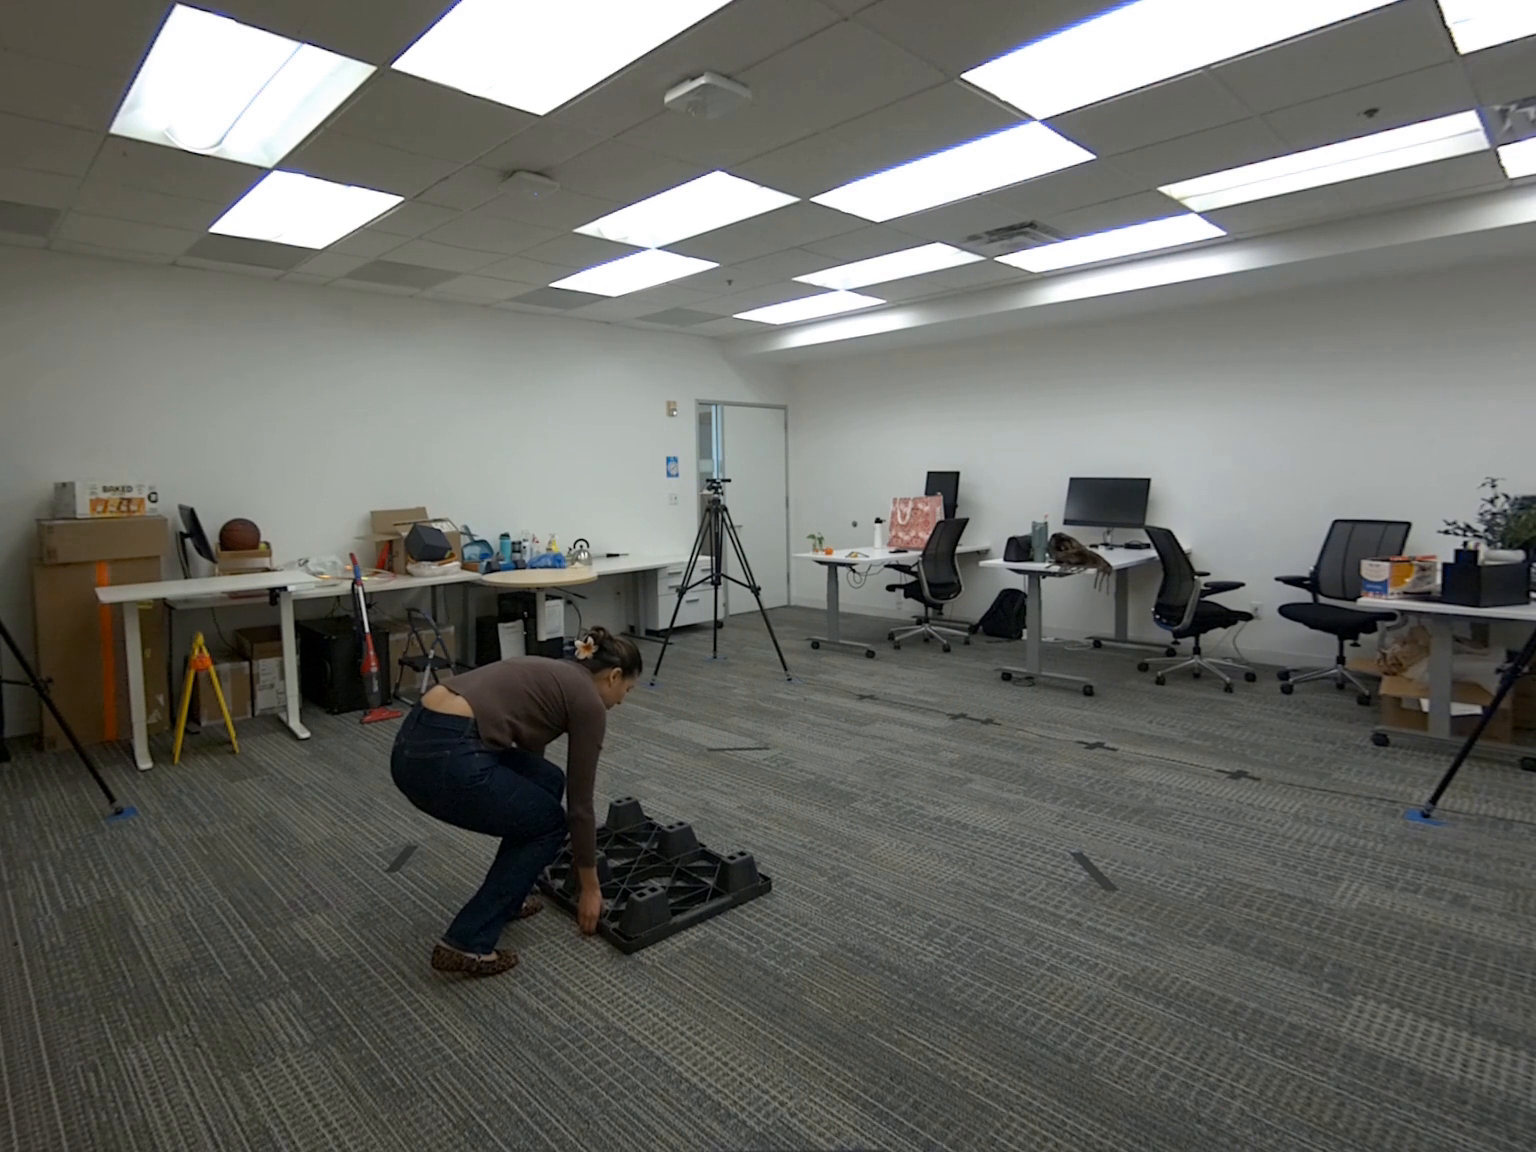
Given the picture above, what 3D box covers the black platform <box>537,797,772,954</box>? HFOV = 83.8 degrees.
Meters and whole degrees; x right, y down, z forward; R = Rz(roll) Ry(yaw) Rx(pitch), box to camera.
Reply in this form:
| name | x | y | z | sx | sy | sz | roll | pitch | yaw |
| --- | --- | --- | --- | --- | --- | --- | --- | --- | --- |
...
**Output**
| name | x | y | z | sx | sy | sz | roll | pitch | yaw |
| --- | --- | --- | --- | --- | --- | --- | --- | --- | --- |
| black platform | -0.459 | 0.999 | 3.010 | 0.590 | 0.142 | 0.831 | -8 | 9 | -42 |
